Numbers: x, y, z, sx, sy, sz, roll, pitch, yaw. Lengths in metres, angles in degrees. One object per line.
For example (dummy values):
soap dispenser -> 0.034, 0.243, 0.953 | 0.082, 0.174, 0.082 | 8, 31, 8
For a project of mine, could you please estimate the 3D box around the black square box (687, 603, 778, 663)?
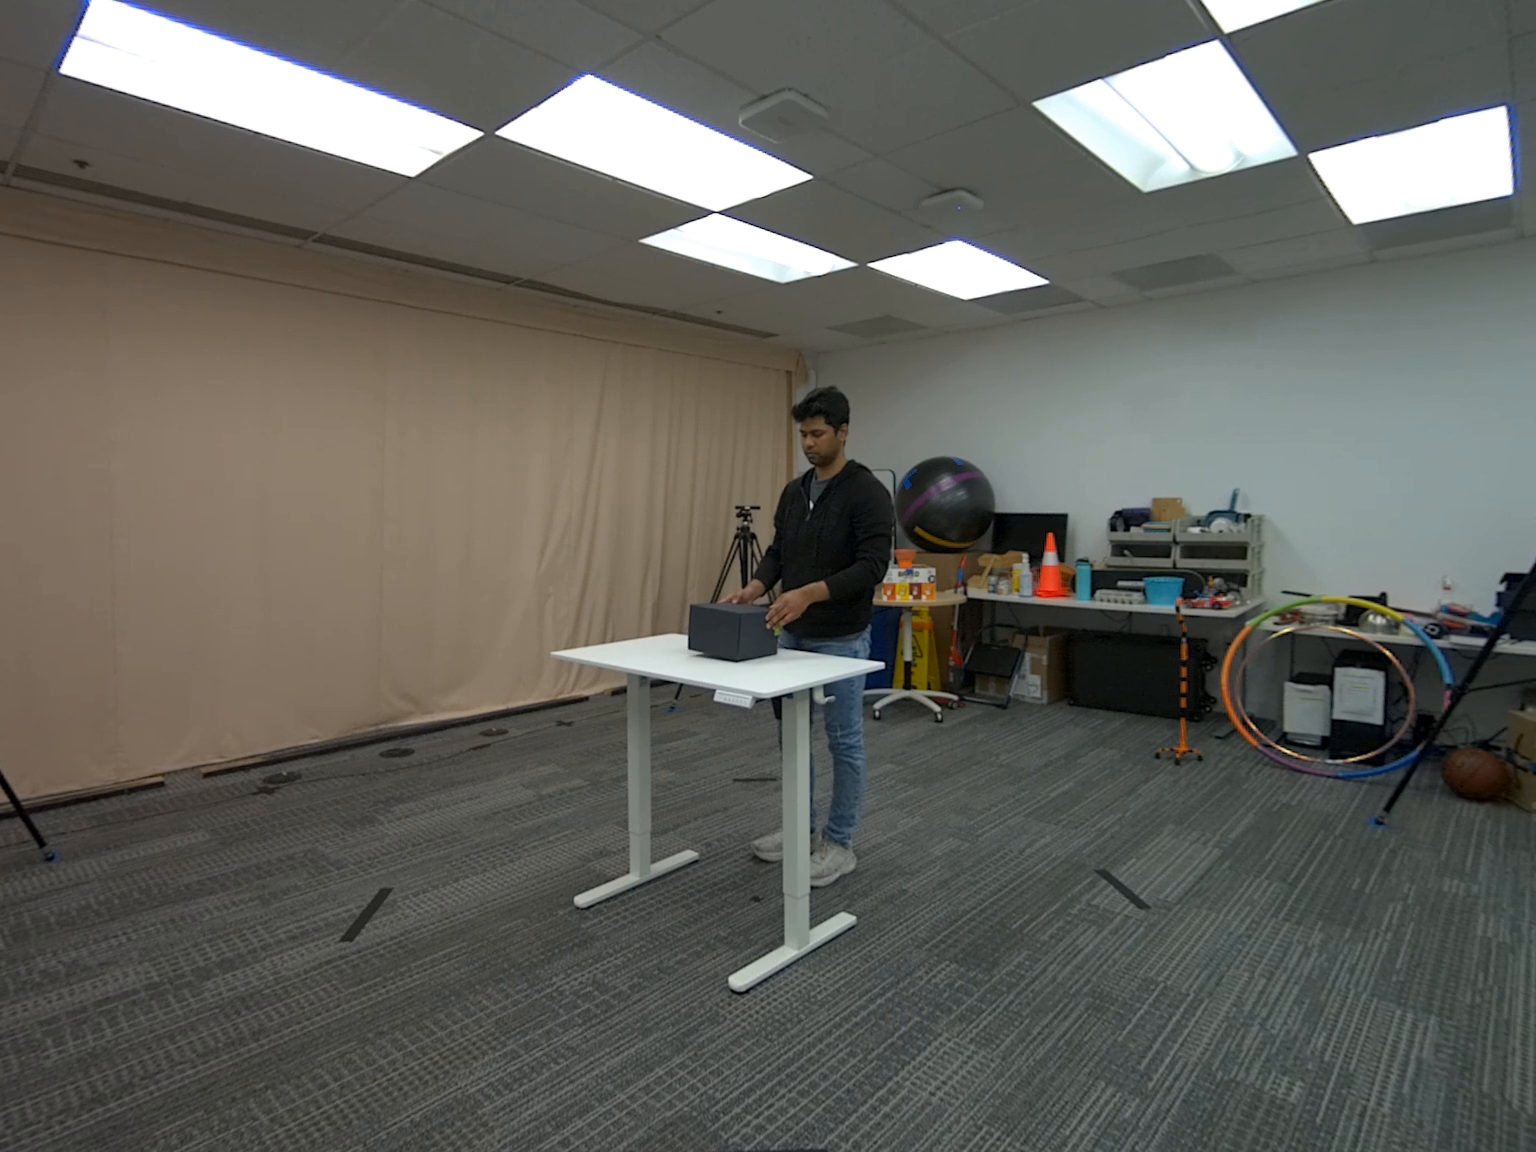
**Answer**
black square box -> -0.119, 0.177, 2.876 | 0.235, 0.156, 0.210 | 5, 4, 40
